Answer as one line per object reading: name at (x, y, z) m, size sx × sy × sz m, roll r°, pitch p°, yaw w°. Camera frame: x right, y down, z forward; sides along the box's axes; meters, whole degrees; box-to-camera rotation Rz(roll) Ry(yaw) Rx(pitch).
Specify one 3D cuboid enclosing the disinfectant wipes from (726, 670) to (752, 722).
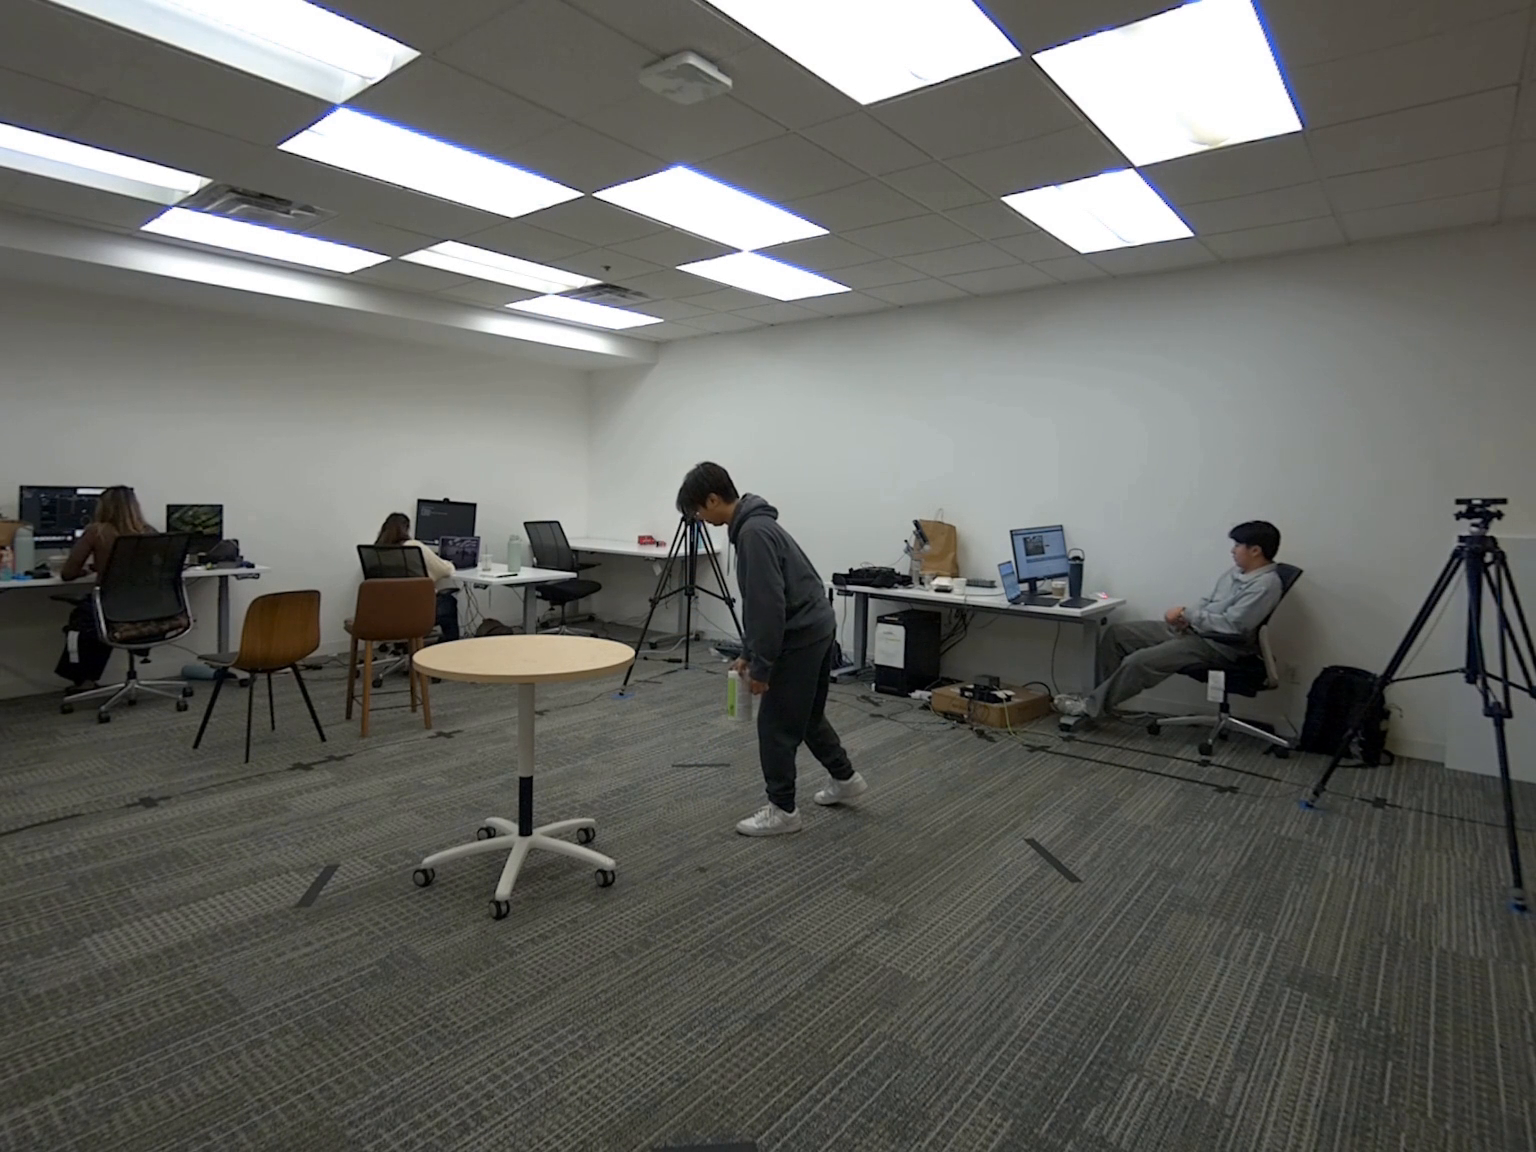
disinfectant wipes at (-0.134, 0.519, 3.727) m, size 0.118 × 0.218 × 0.118 m, roll -1°, pitch -1°, yaw -2°
